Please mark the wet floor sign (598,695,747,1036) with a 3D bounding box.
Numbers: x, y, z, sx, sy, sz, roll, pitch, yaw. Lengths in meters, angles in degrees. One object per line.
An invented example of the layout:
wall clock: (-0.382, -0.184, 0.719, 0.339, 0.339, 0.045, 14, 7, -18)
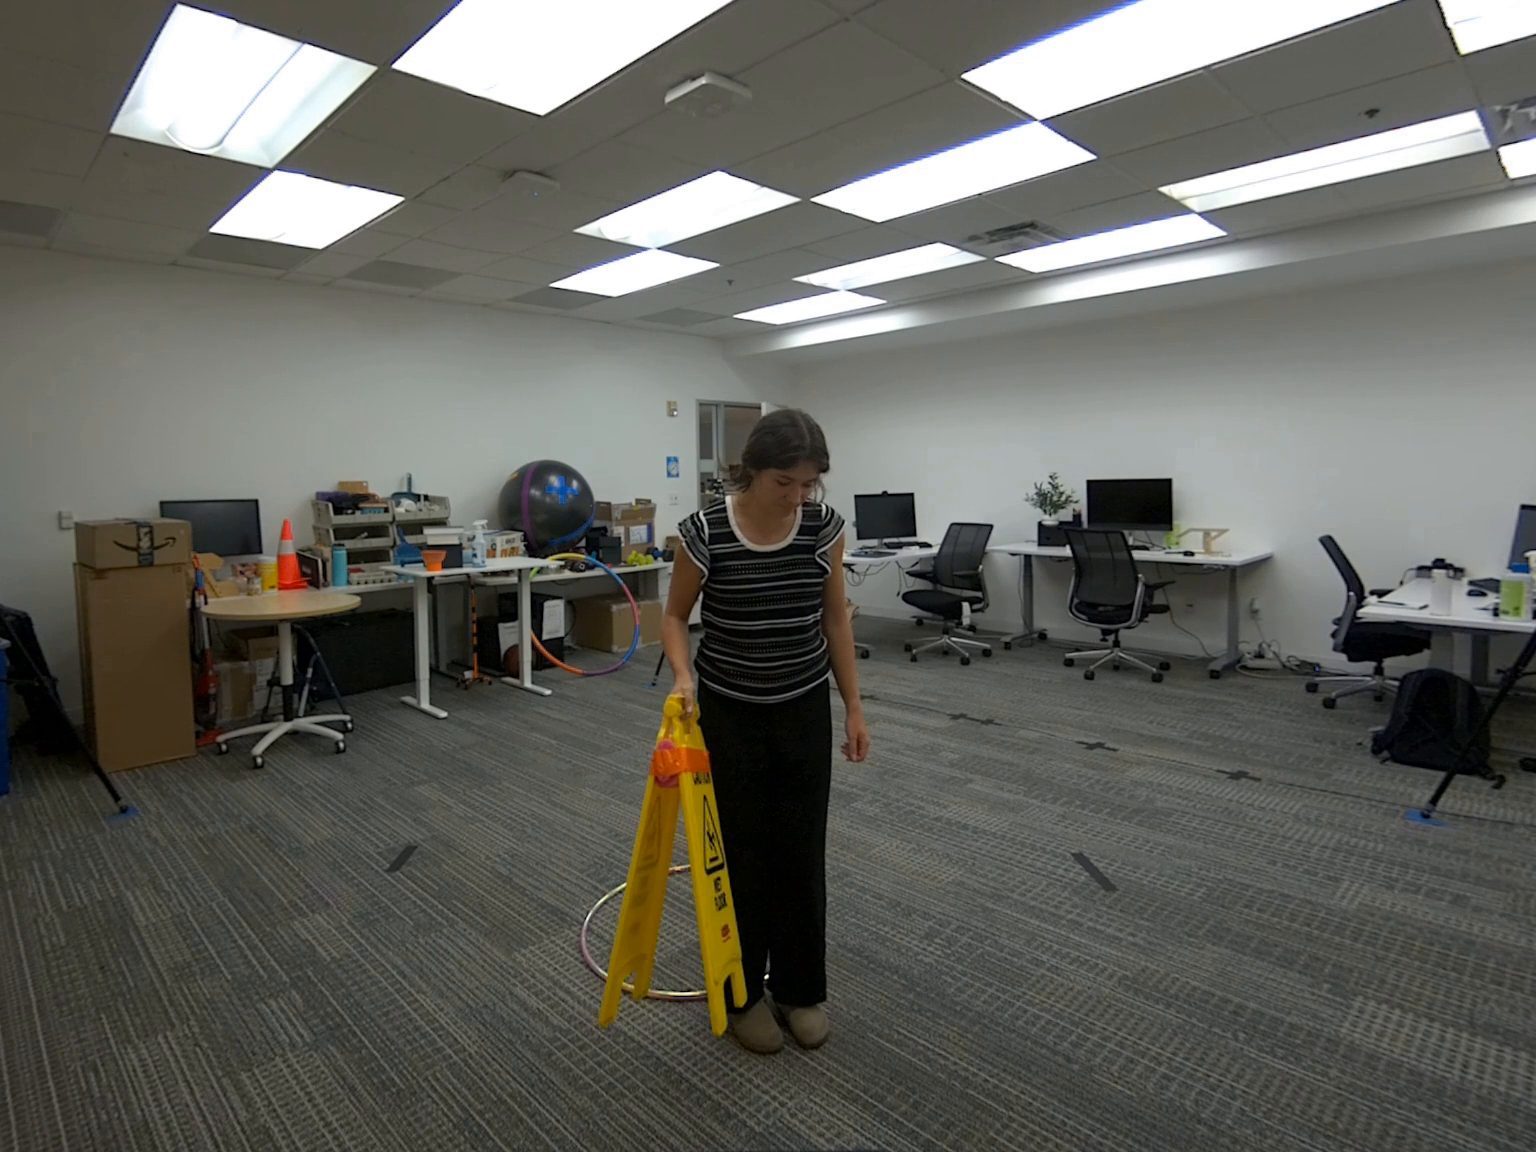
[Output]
wet floor sign: (-0.179, 0.600, 1.849, 0.293, 0.654, 0.276, -4, -14, 10)
